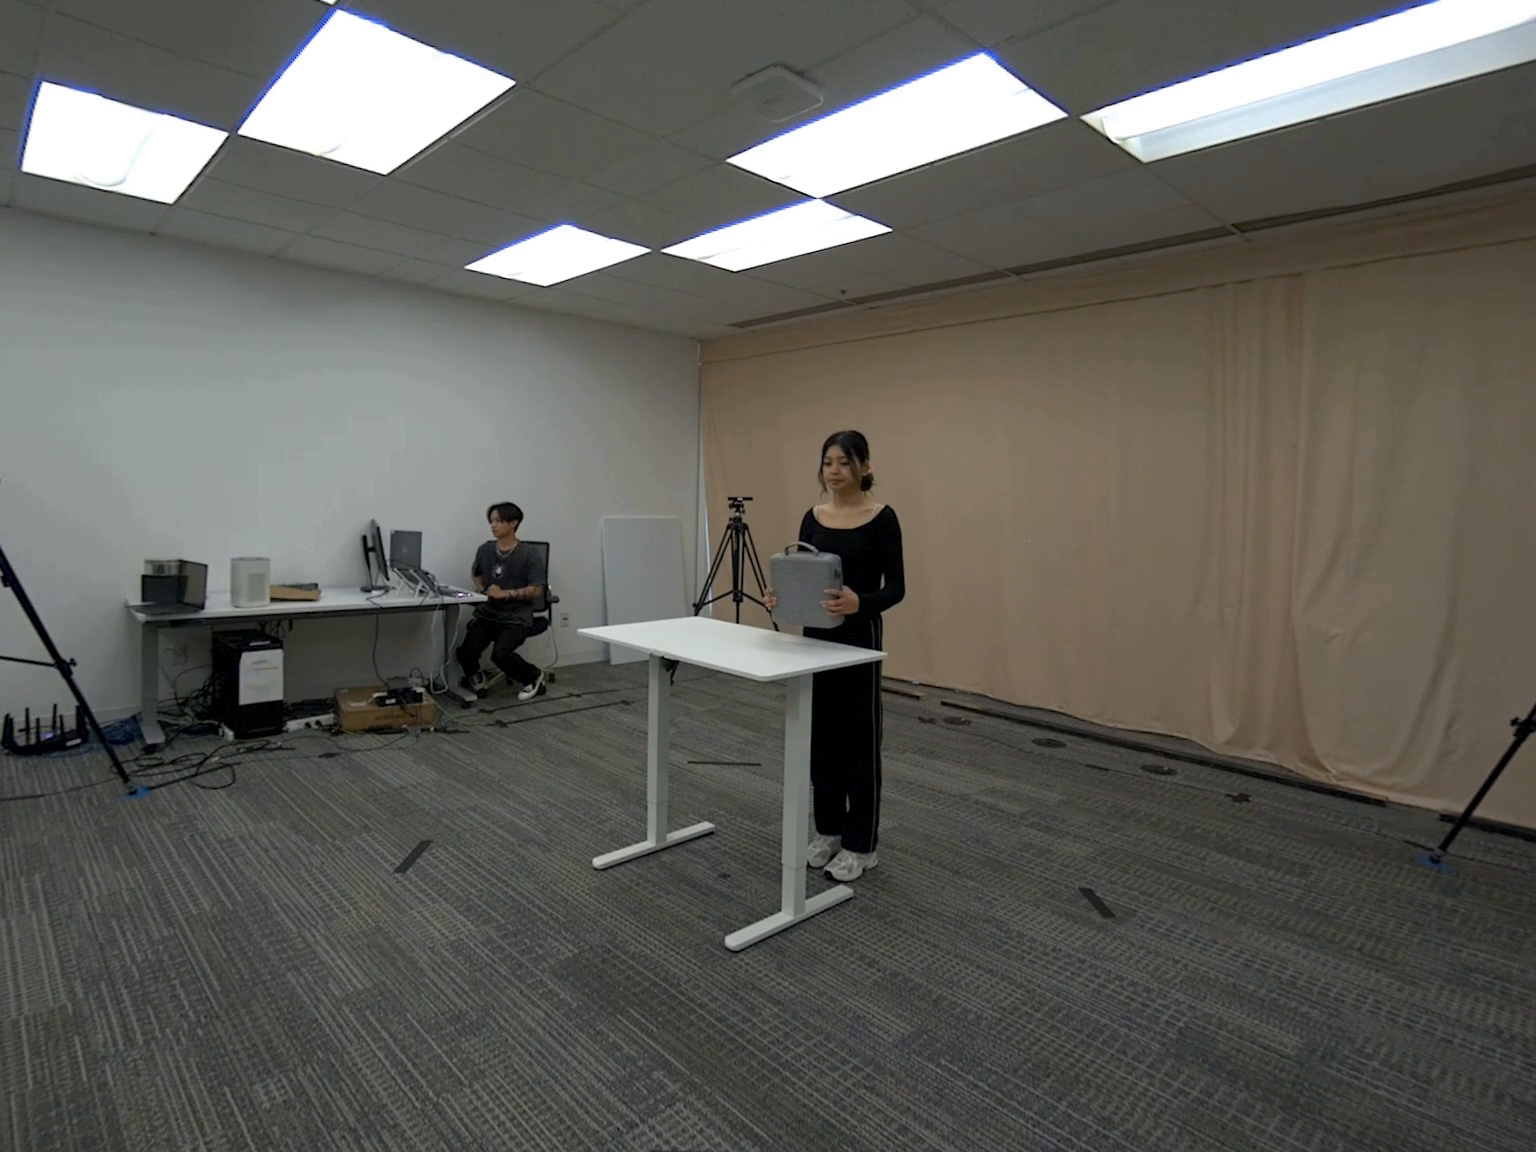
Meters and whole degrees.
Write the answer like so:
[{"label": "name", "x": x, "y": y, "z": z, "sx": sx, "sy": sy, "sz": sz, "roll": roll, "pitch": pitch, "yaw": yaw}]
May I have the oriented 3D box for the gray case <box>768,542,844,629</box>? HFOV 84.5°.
[{"label": "gray case", "x": 0.133, "y": 0.047, "z": 2.934, "sx": 0.263, "sy": 0.258, "sz": 0.103, "roll": 2, "pitch": 12, "yaw": 33}]
